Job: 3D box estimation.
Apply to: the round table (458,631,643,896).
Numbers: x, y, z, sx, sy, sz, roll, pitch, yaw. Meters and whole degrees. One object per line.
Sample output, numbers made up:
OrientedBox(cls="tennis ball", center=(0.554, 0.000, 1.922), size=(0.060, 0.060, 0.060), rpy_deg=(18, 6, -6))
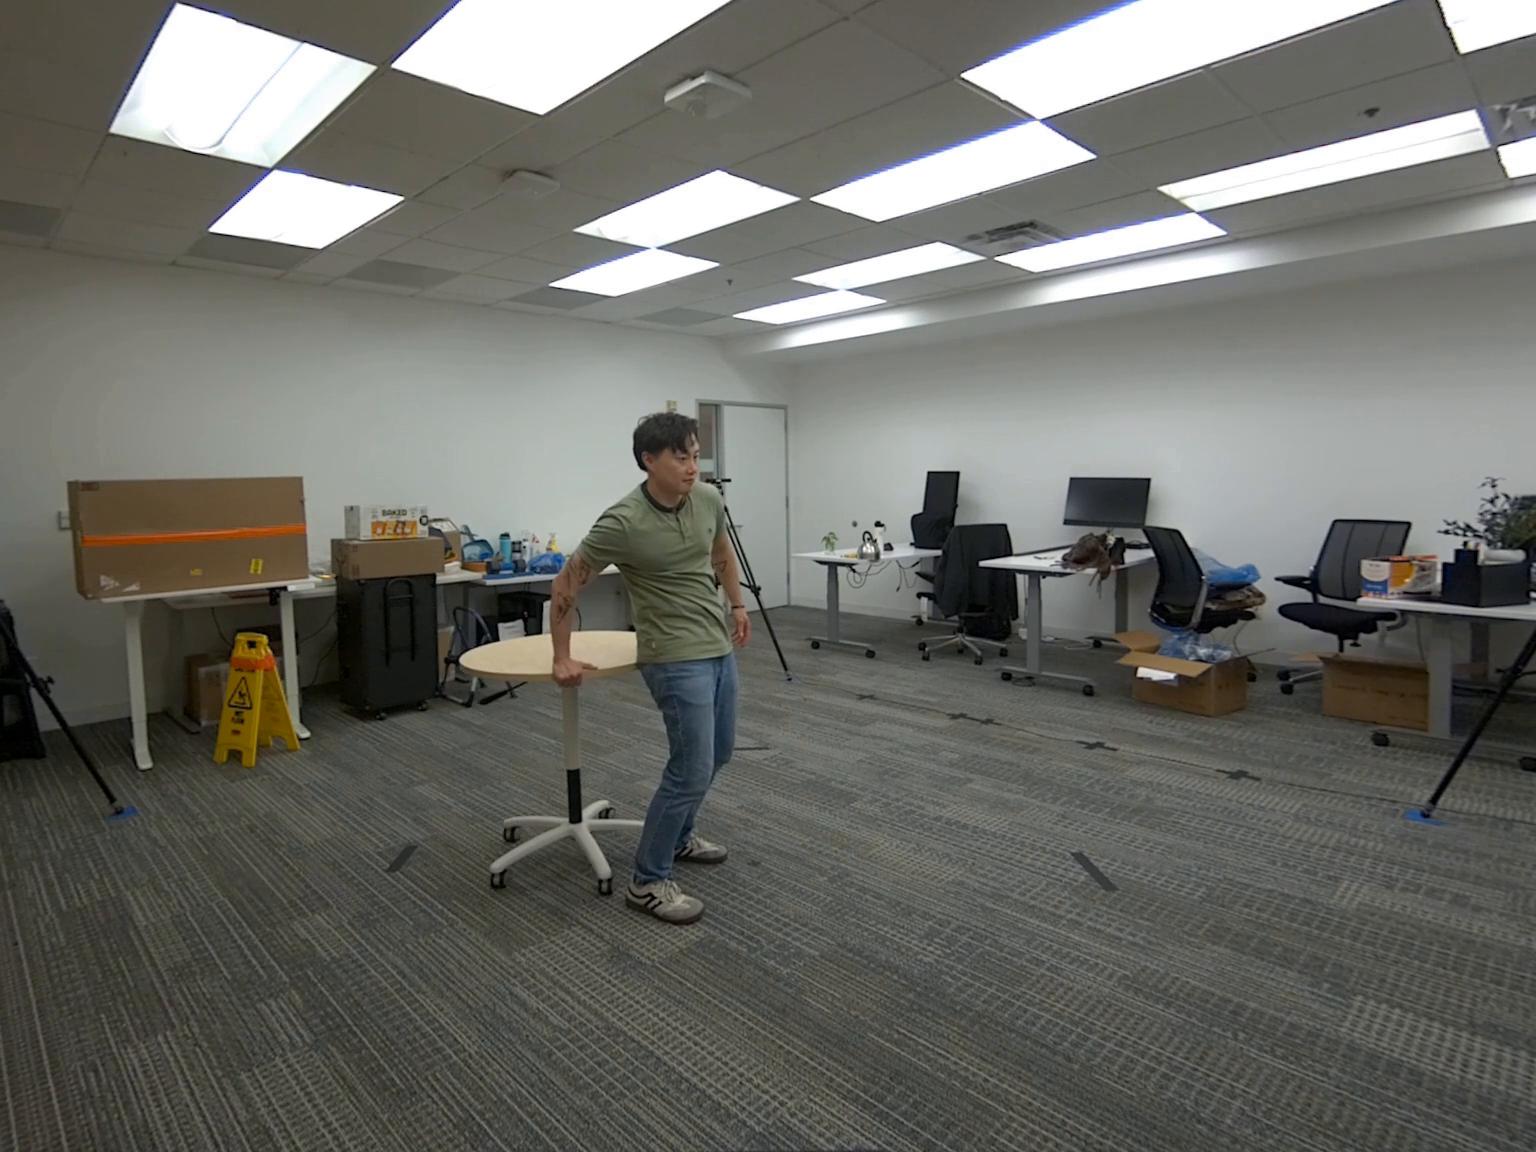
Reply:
OrientedBox(cls="round table", center=(-0.721, 0.663, 3.154), size=(0.763, 0.791, 0.768), rpy_deg=(-2, 5, -2))
